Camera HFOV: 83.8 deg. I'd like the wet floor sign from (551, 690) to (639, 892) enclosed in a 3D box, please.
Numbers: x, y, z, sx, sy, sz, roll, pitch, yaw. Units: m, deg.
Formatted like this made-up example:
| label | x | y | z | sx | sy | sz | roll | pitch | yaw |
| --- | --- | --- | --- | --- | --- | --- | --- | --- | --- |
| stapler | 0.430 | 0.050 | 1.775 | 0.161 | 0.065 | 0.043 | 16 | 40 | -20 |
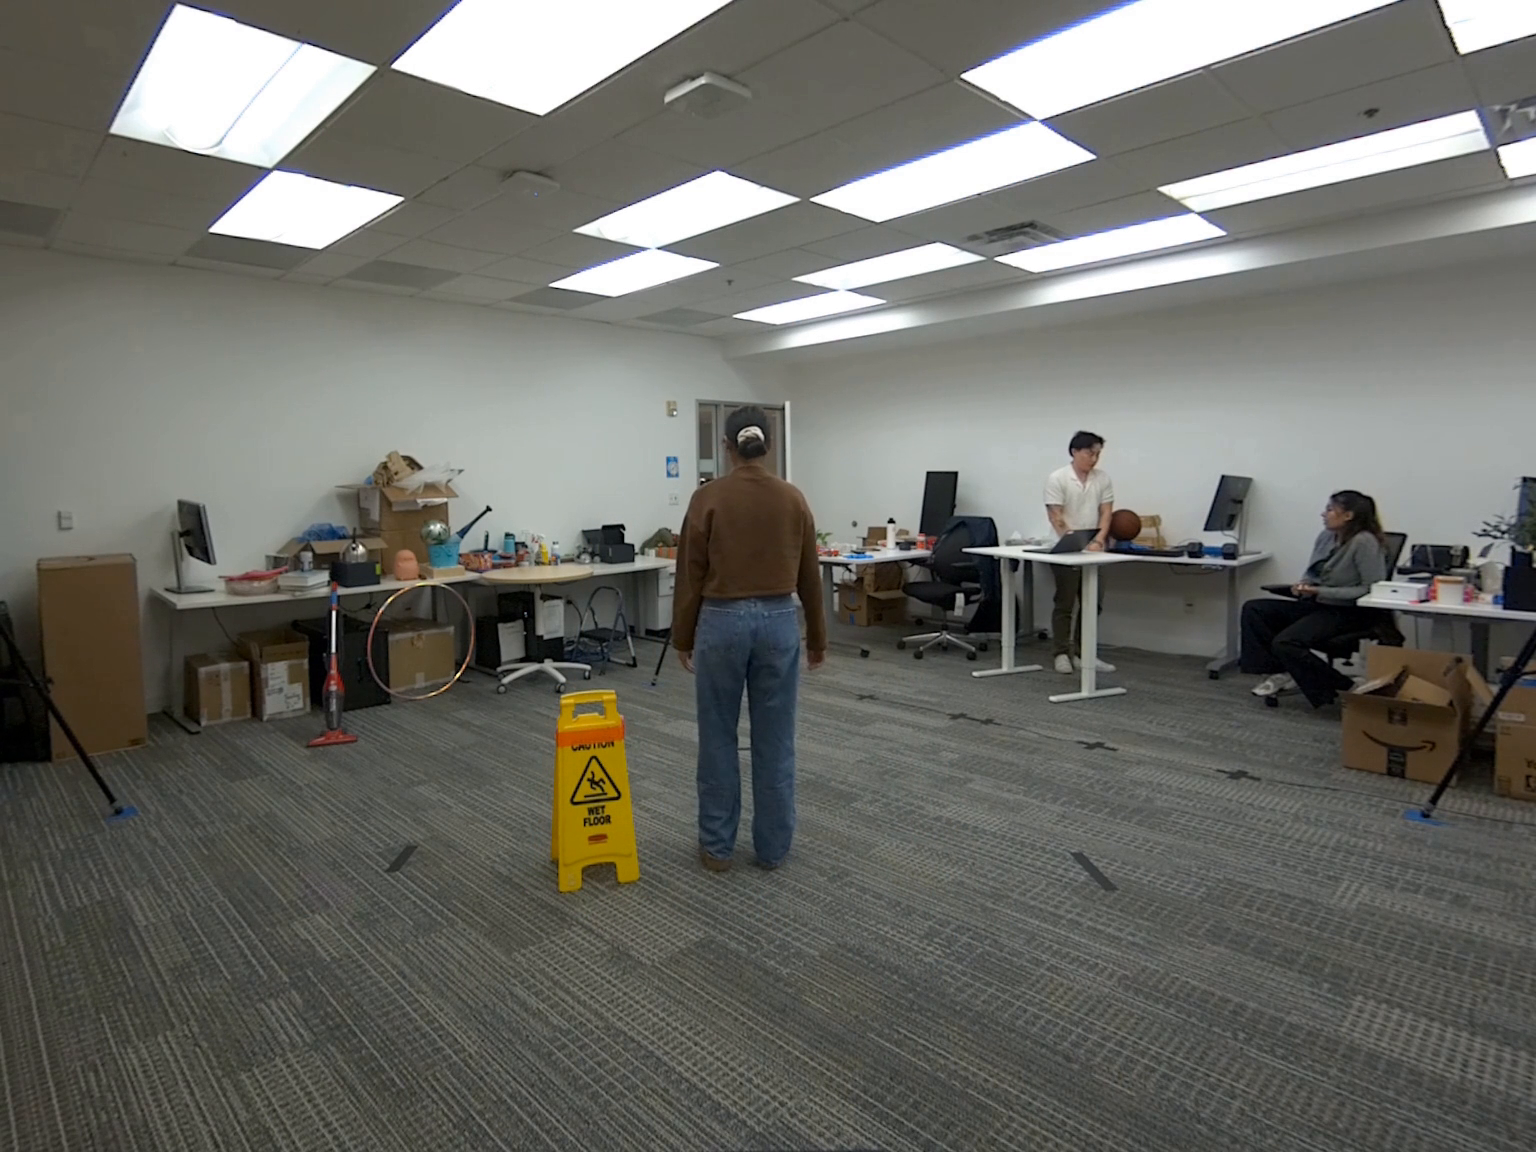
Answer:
| label | x | y | z | sx | sy | sz | roll | pitch | yaw |
| --- | --- | --- | --- | --- | --- | --- | --- | --- | --- |
| wet floor sign | -0.627 | 0.735 | 3.052 | 0.278 | 0.643 | 0.295 | -3 | 5 | -18 |
